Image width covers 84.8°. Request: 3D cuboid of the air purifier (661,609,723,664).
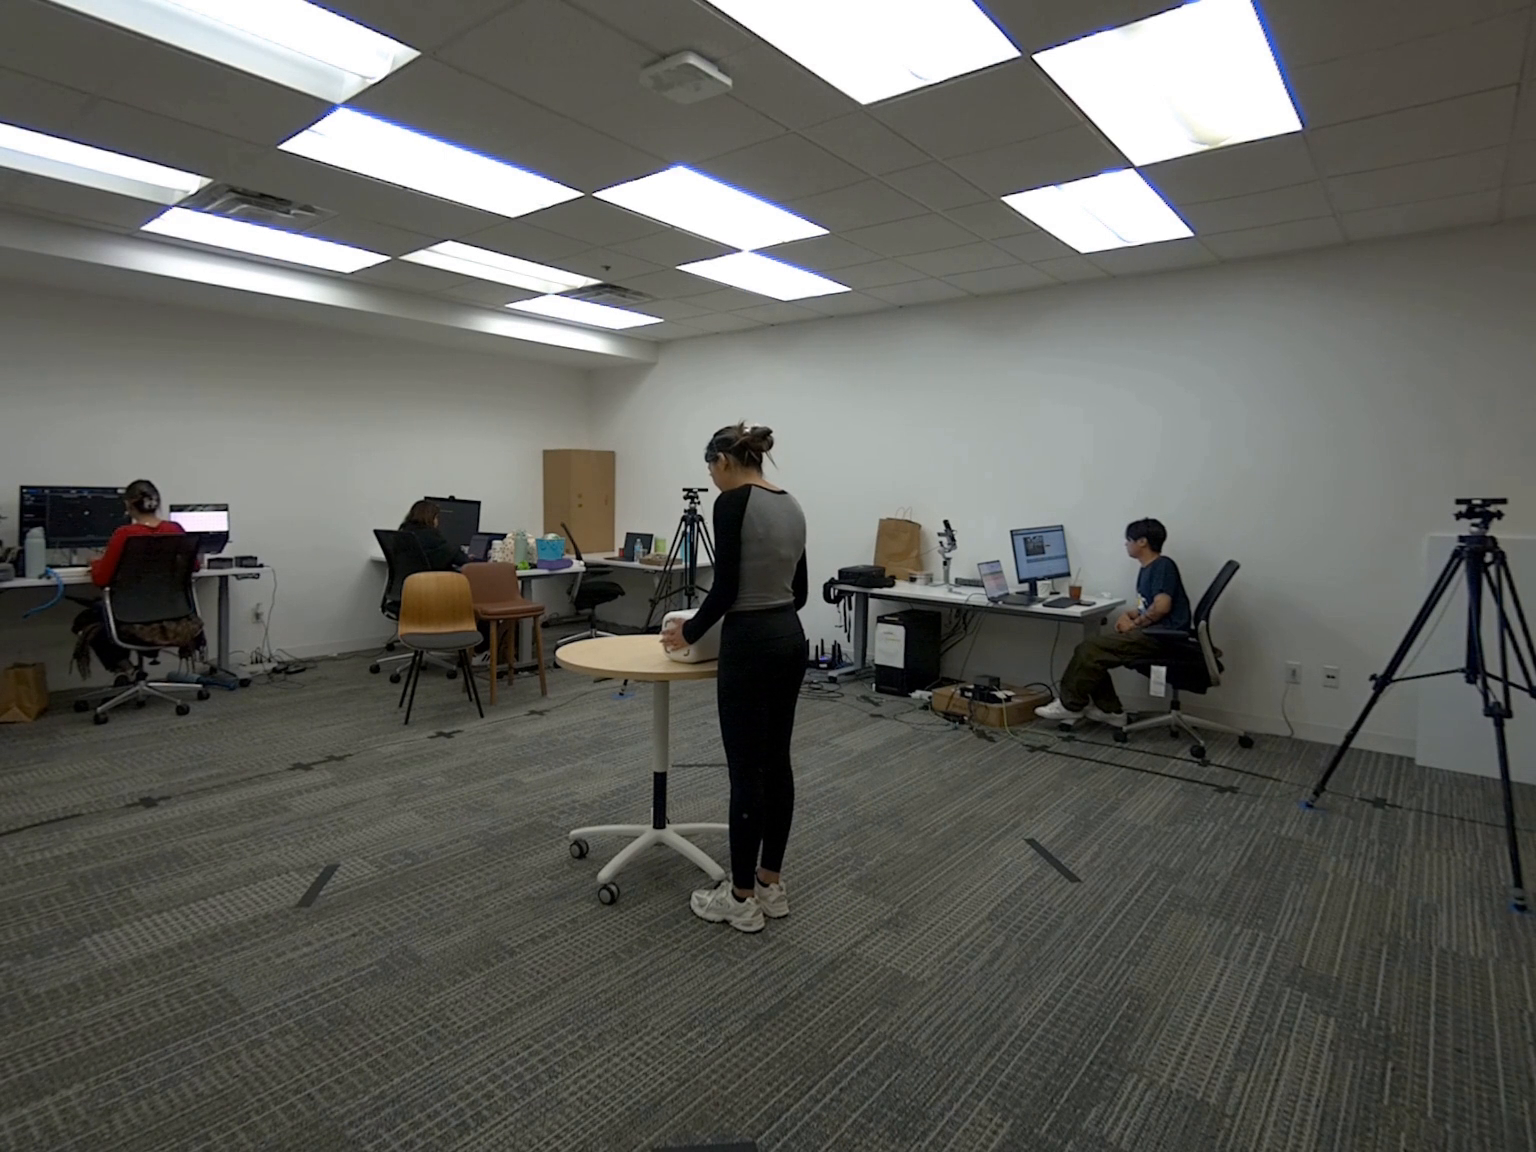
[{"bbox_3d":[-0.245,0.199,2.982,0.177,0.171,0.258,4,5,36],"label":"air purifier"}]
